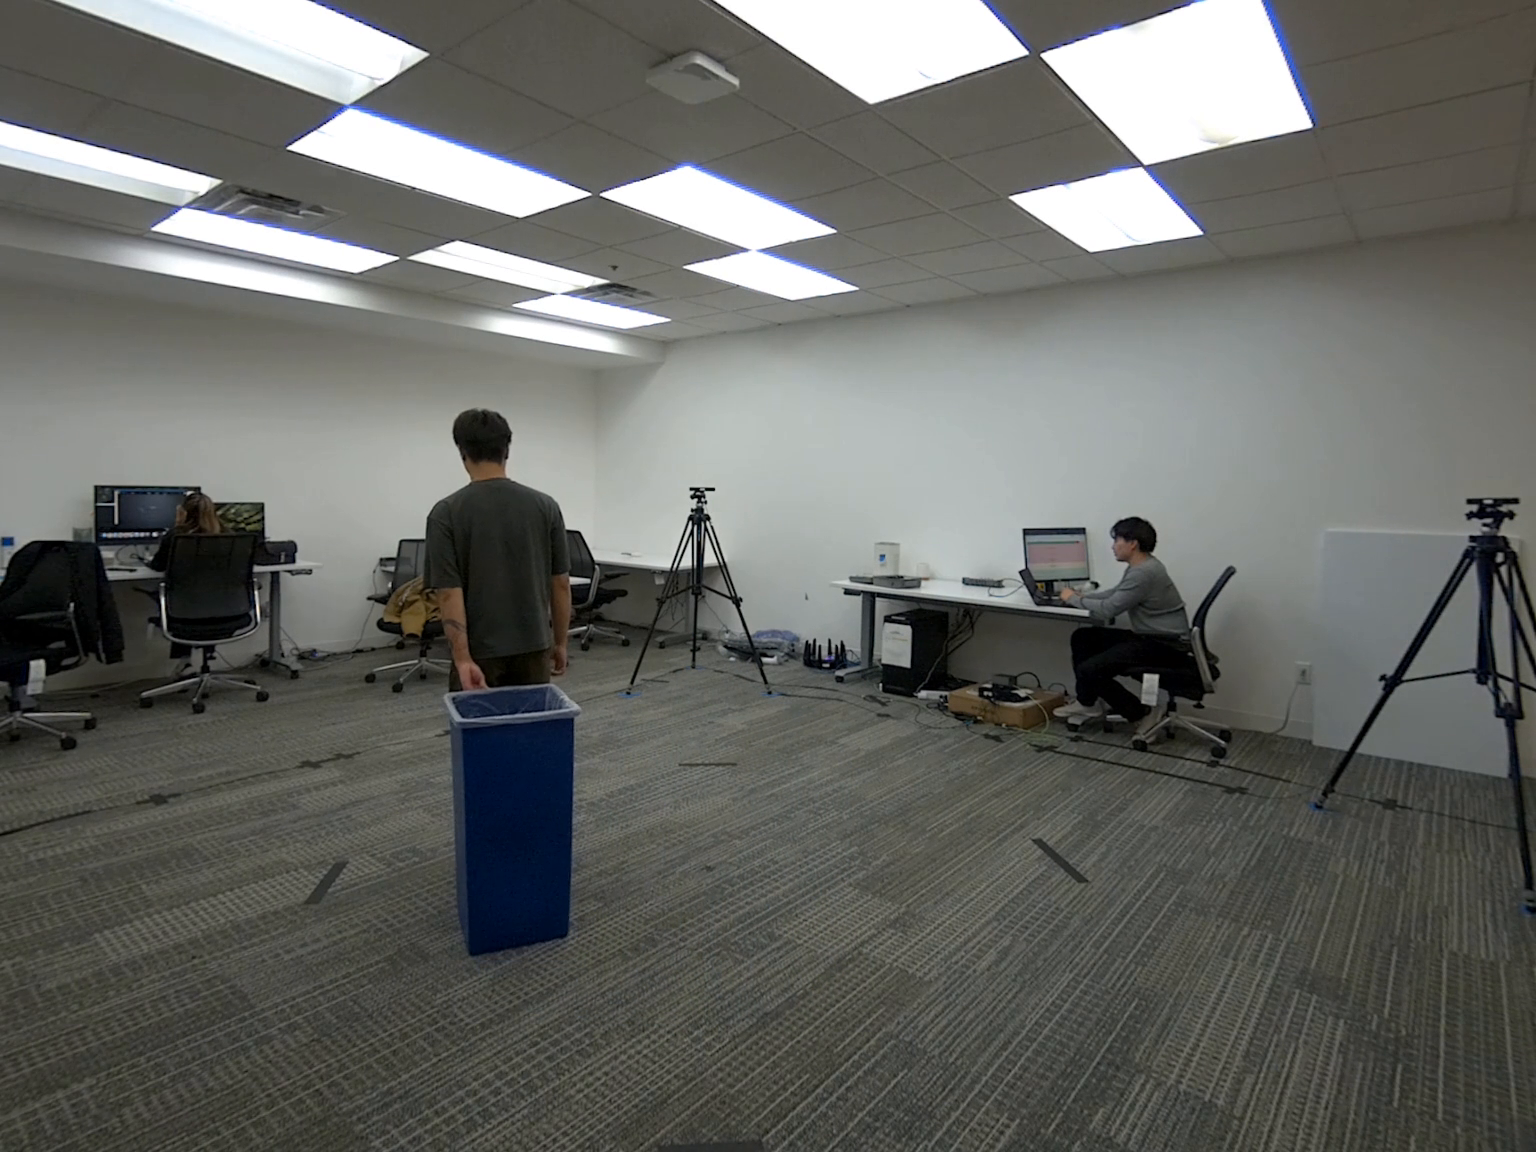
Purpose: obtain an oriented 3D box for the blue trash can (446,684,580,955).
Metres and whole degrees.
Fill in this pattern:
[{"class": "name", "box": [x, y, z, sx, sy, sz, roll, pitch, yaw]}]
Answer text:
[{"class": "blue trash can", "box": [-0.823, 0.744, 2.669, 0.365, 0.712, 0.388, -1, 3, -25]}]
